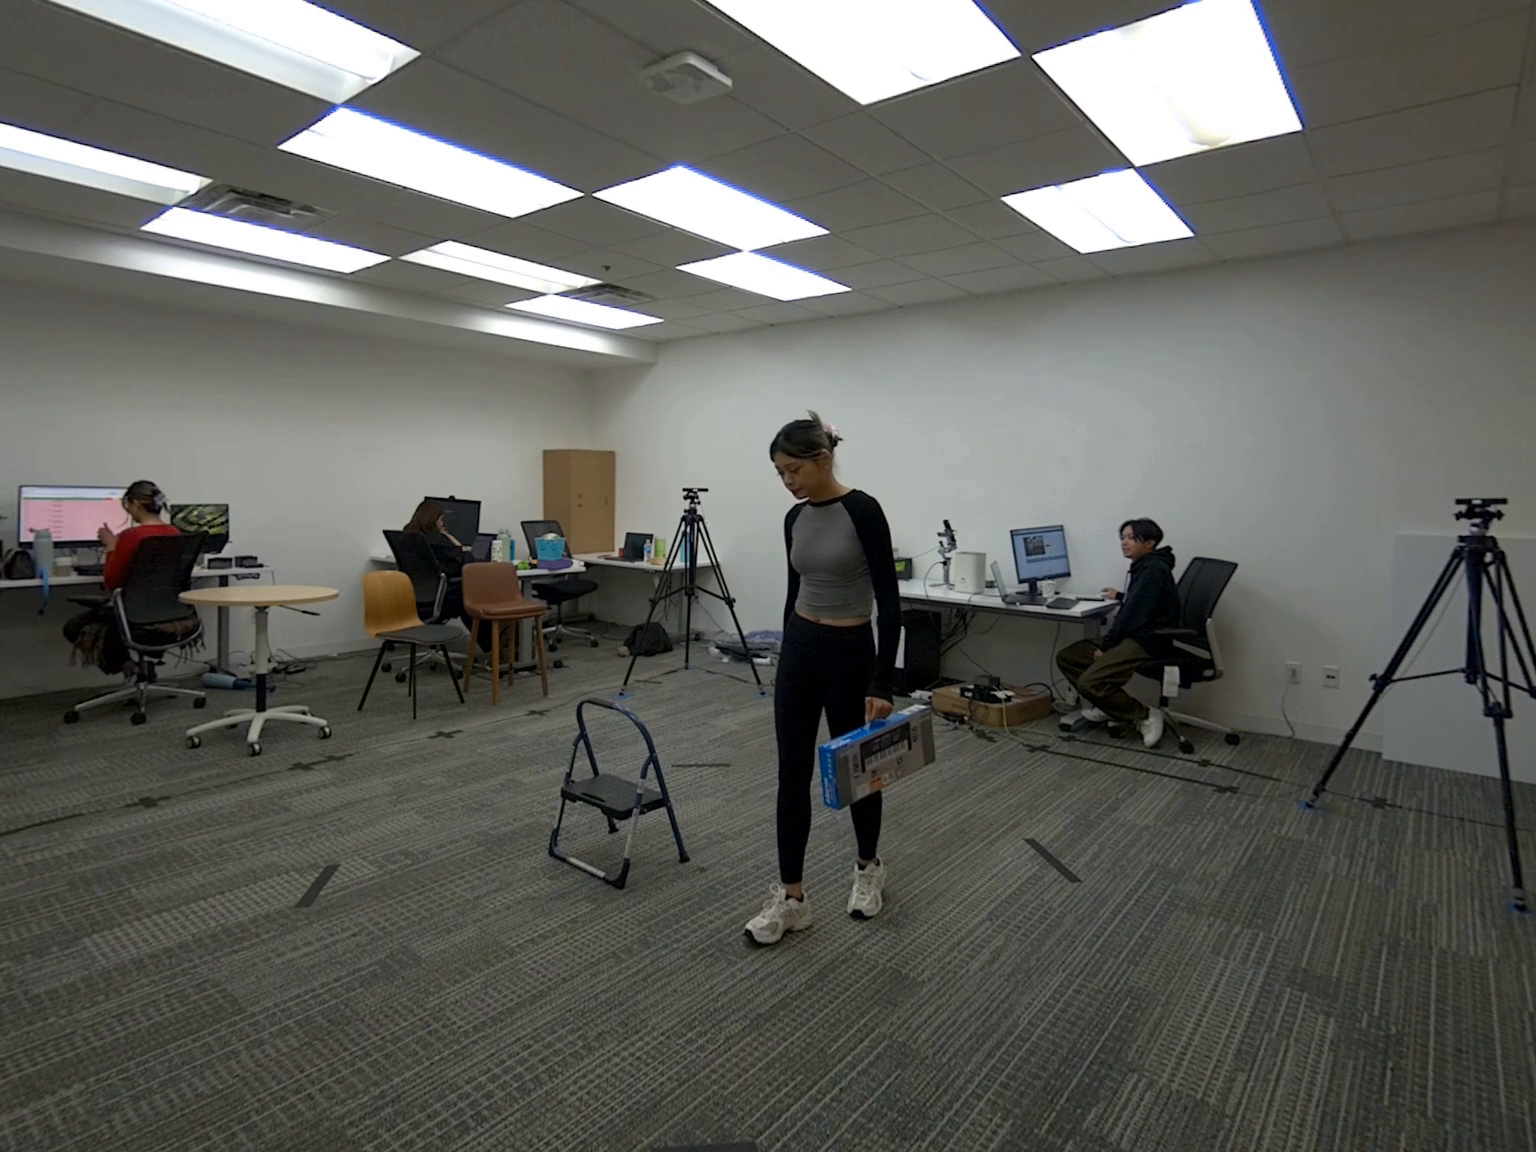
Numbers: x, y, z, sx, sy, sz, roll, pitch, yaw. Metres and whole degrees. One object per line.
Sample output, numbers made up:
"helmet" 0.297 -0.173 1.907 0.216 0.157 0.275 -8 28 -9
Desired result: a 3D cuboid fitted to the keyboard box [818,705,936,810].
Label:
"keyboard box" 0.316 0.512 2.461 0.426 0.175 0.061 -13 8 -40
